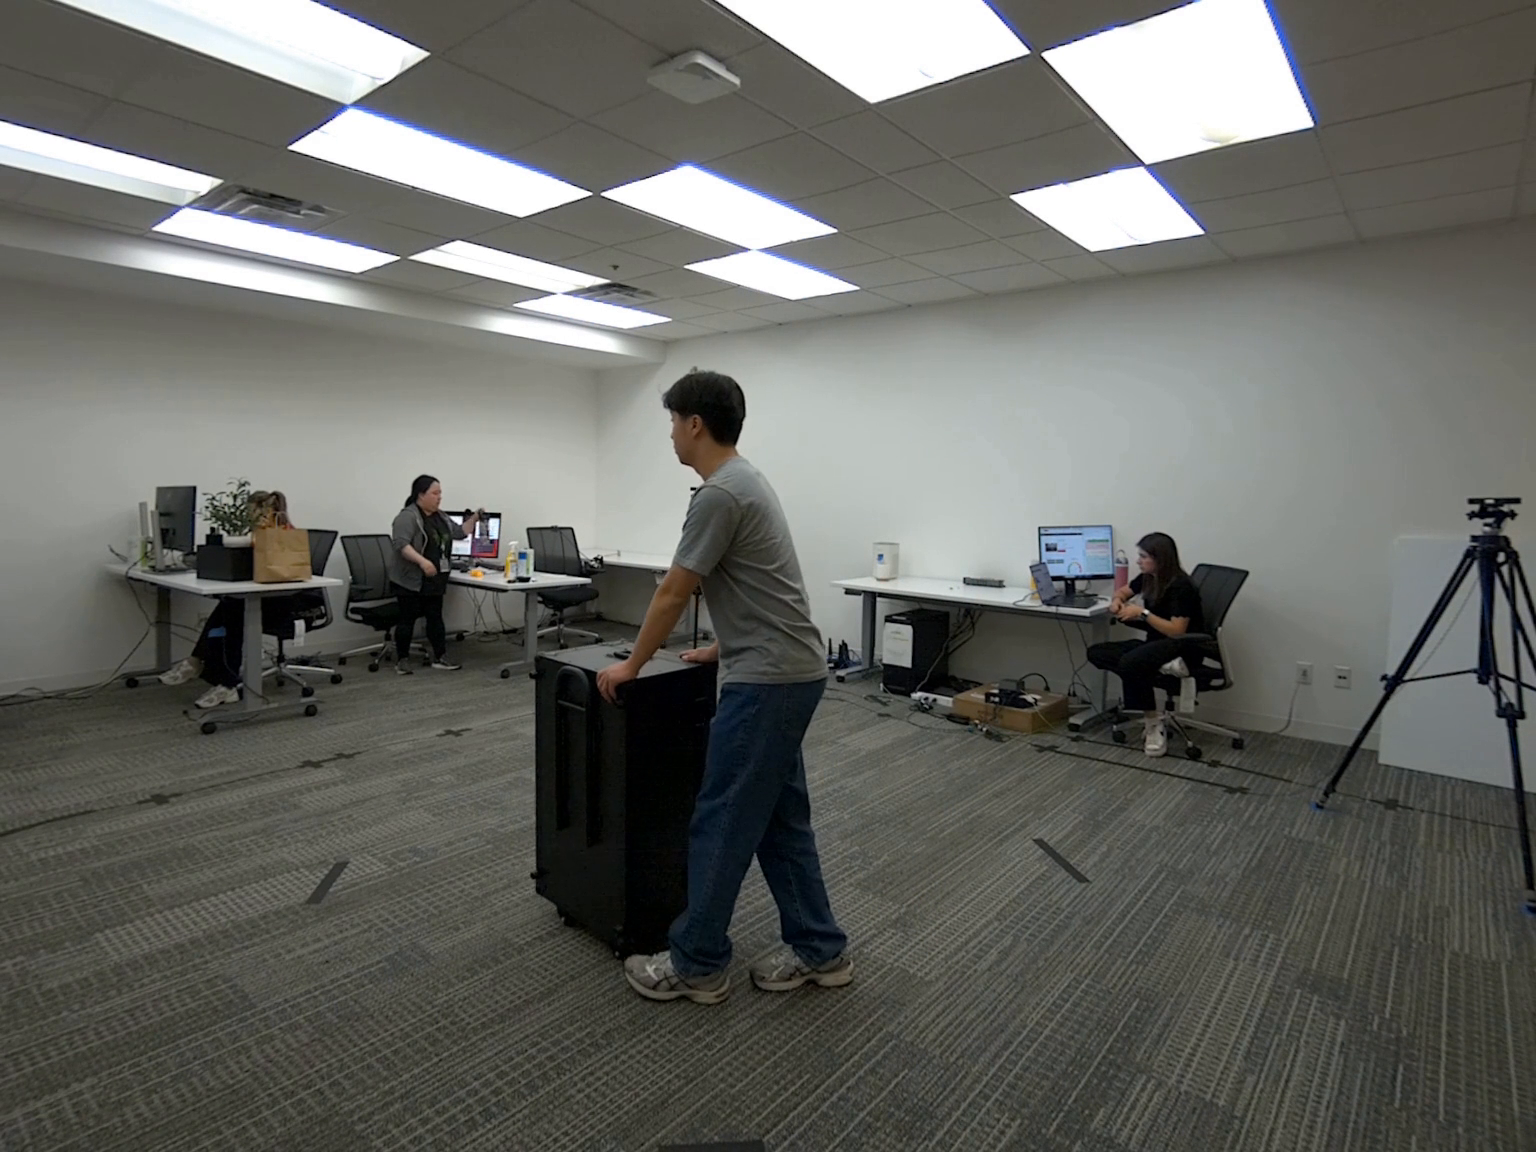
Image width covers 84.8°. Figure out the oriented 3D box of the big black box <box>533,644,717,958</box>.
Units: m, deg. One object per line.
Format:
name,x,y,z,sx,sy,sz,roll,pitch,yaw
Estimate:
big black box,-0.466,0.680,2.670,0.539,0.858,0.384,5,6,44
